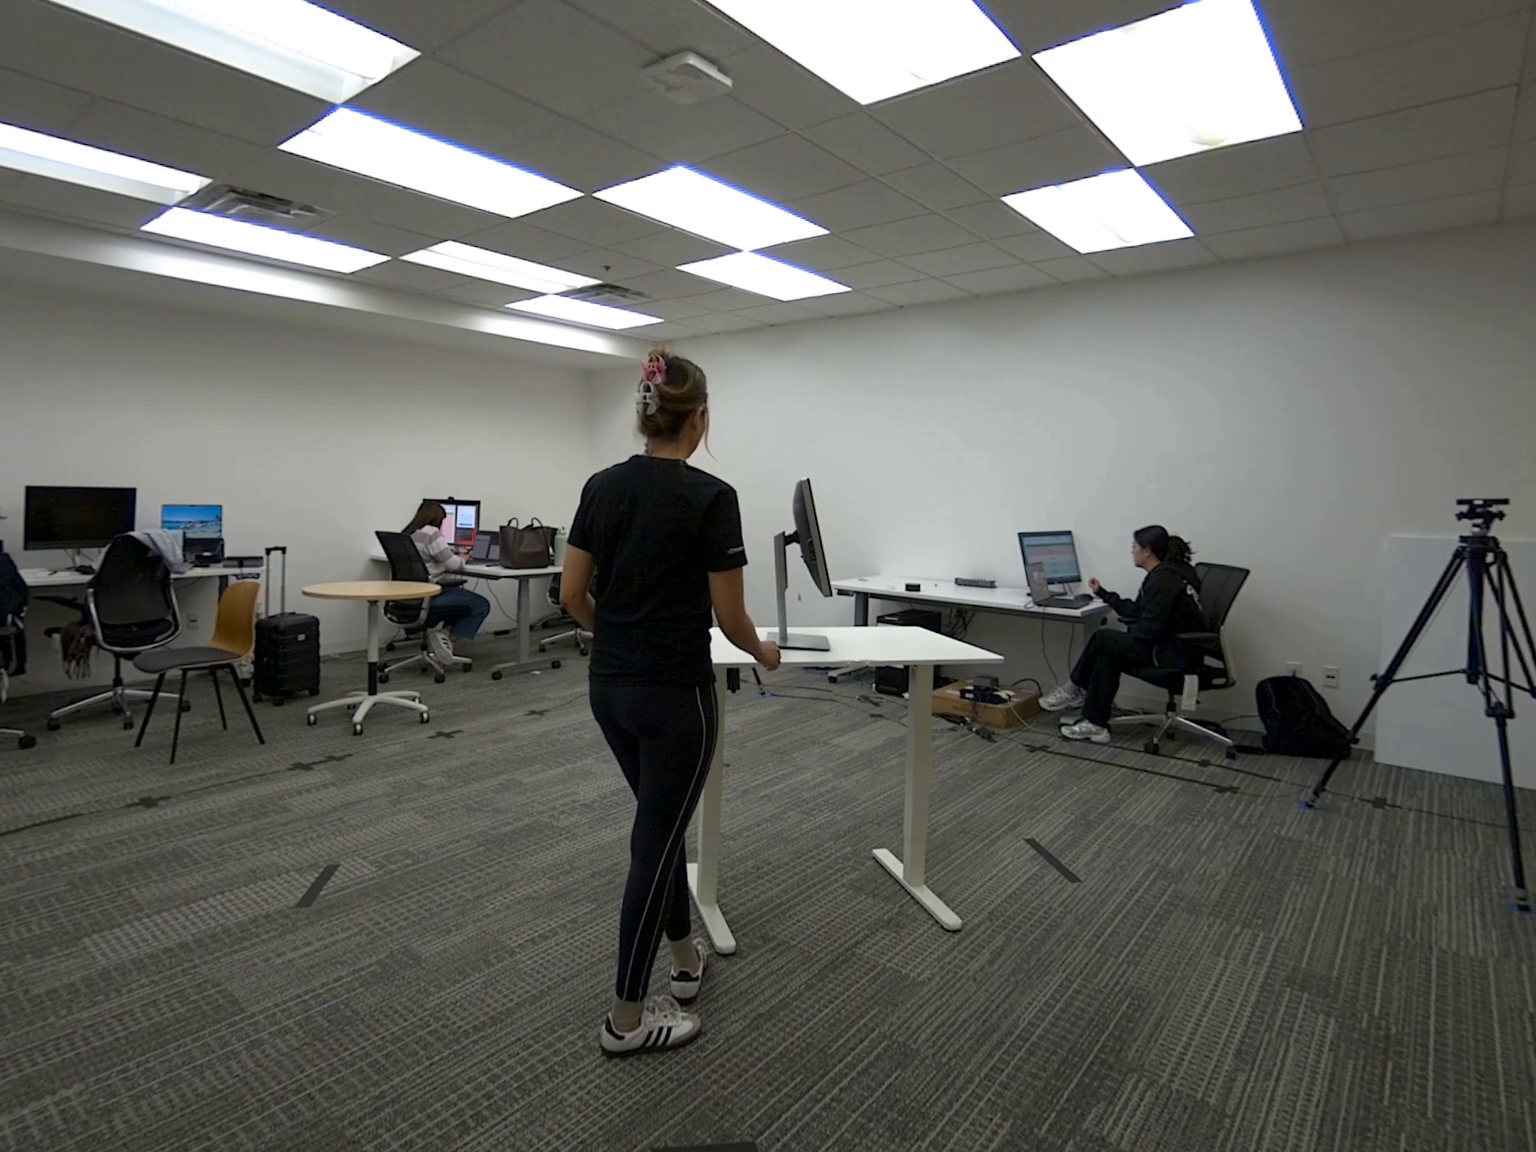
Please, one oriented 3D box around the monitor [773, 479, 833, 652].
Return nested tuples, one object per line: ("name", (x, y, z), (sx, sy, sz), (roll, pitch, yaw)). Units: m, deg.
("monitor", (0.095, -0.042, 2.816), (0.187, 0.521, 0.541), (2, 4, -3))
